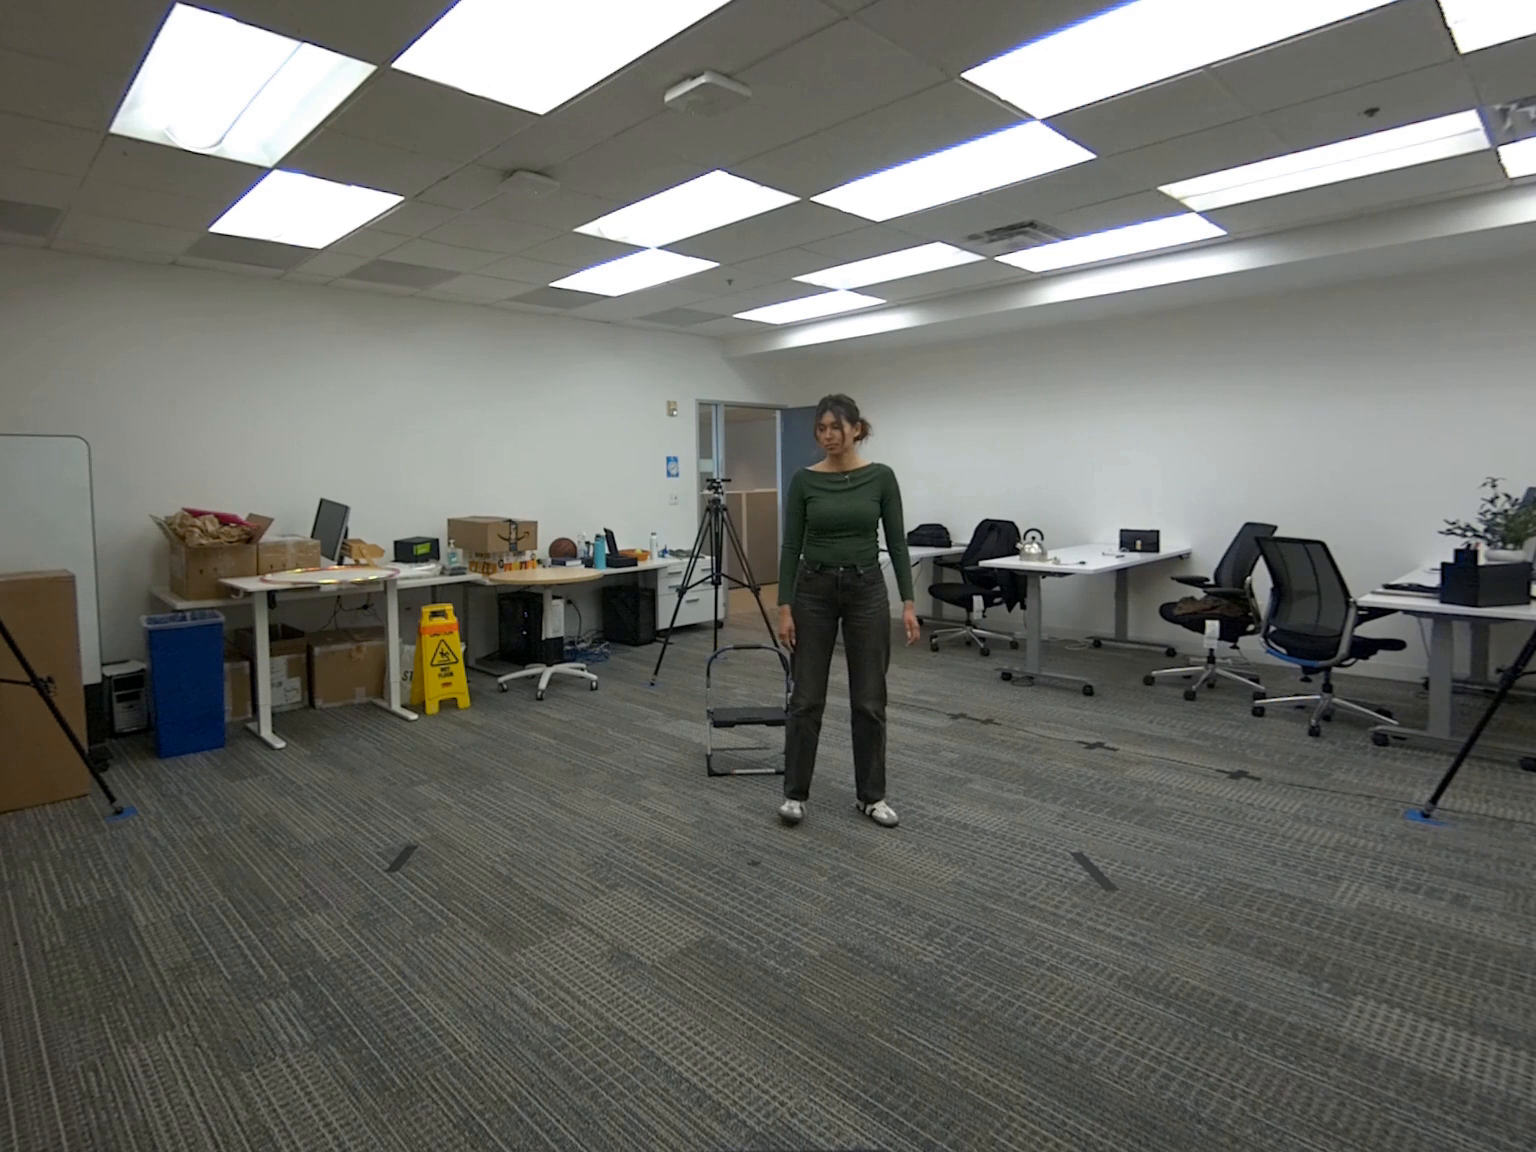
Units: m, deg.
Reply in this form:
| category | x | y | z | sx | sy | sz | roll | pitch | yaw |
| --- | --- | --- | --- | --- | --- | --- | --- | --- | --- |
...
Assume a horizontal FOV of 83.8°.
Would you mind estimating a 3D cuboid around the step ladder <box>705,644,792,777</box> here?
| category | x | y | z | sx | sy | sz | roll | pitch | yaw |
| --- | --- | --- | --- | --- | --- | --- | --- | --- | --- |
| step ladder | -0.099 | 0.626 | 4.180 | 0.430 | 0.604 | 0.351 | -2 | 4 | -3 |
